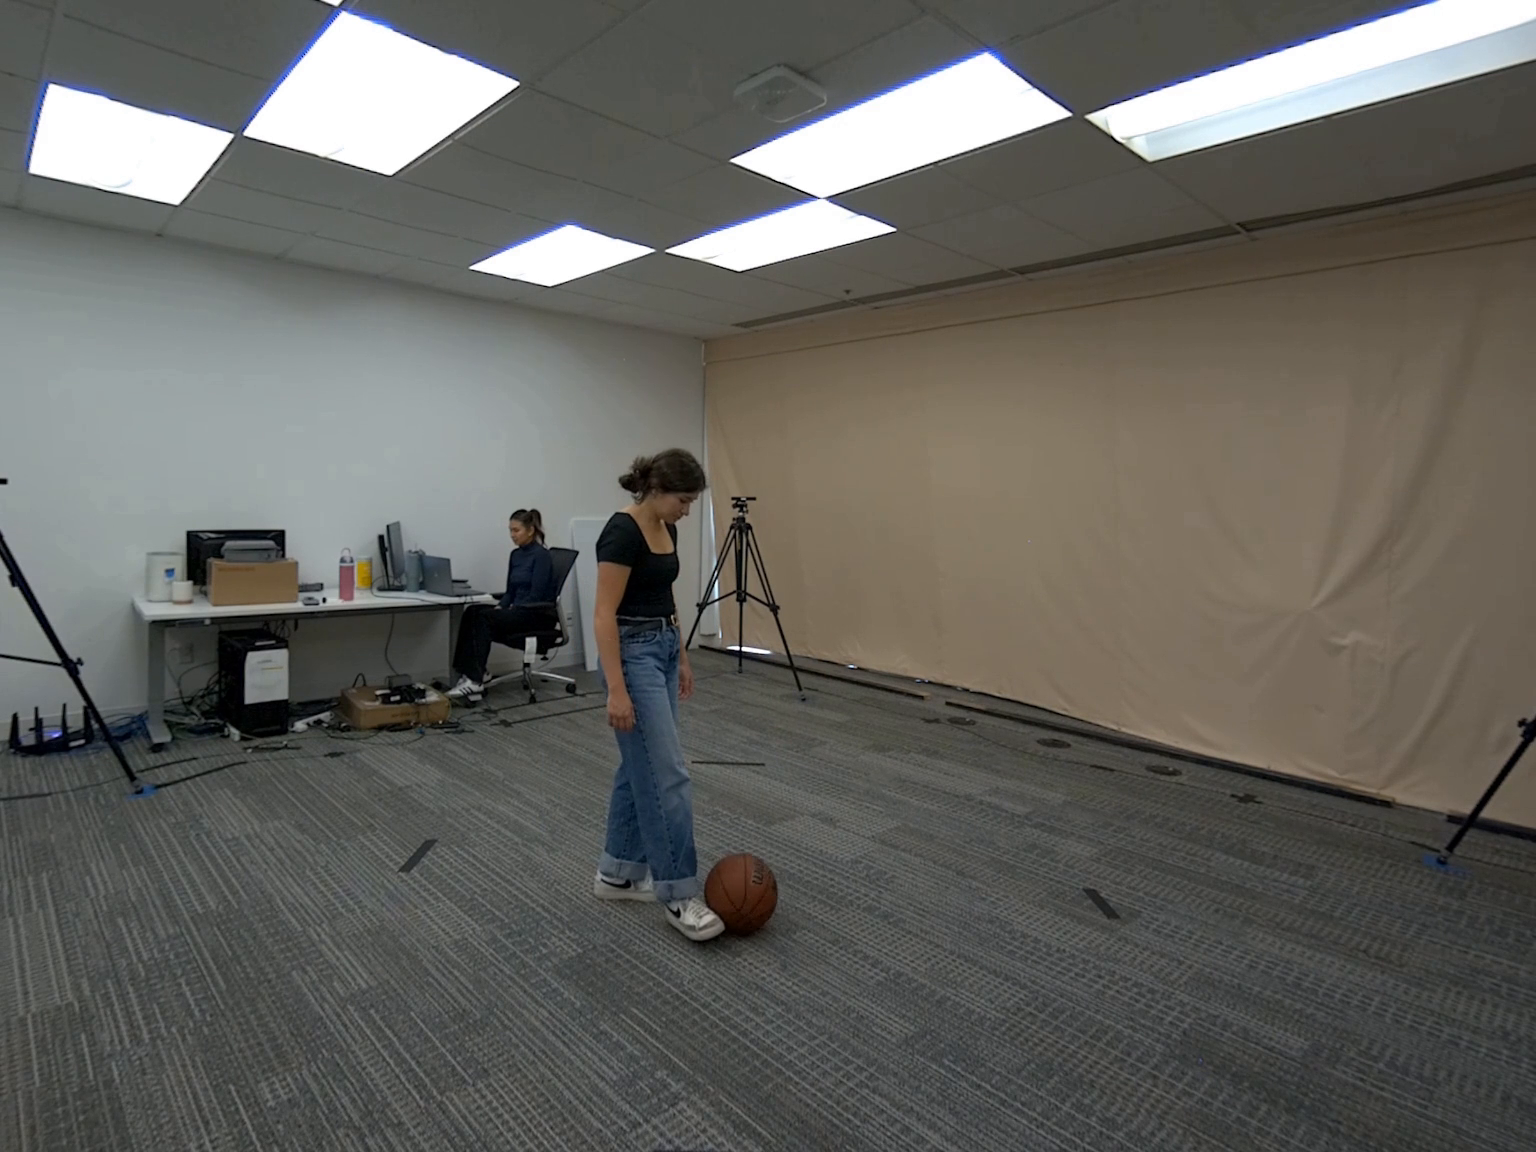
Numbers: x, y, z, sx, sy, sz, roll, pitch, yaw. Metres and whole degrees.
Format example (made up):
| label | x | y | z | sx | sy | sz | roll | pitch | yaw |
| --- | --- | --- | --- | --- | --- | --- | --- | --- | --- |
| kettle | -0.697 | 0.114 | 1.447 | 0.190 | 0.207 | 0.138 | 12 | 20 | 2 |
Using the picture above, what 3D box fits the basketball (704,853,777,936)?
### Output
| label | x | y | z | sx | sy | sz | roll | pitch | yaw |
| --- | --- | --- | --- | --- | --- | --- | --- | --- | --- |
| basketball | -0.090 | 1.026 | 2.716 | 0.236 | 0.235 | 0.237 | 1 | 4 | -1 |
